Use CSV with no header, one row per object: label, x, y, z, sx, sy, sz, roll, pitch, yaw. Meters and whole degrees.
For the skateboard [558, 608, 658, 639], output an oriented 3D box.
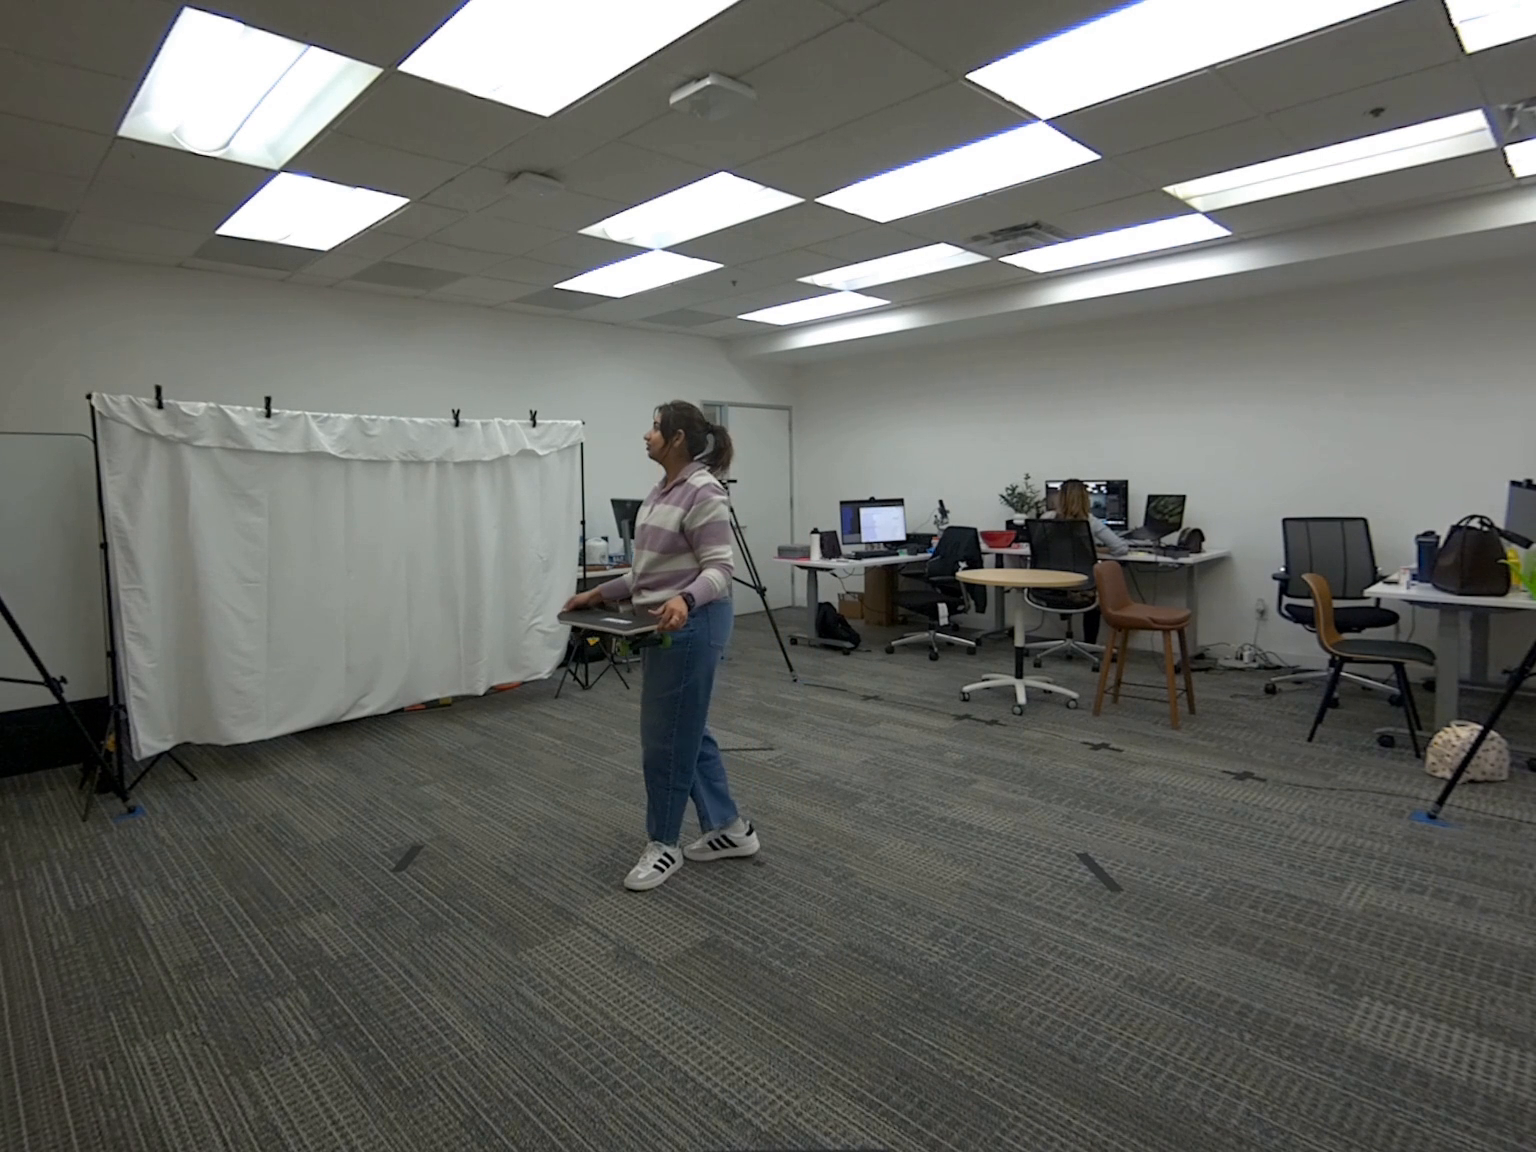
skateboard,-0.518,0.185,2.916,0.189,0.110,0.807,-11,8,-32
